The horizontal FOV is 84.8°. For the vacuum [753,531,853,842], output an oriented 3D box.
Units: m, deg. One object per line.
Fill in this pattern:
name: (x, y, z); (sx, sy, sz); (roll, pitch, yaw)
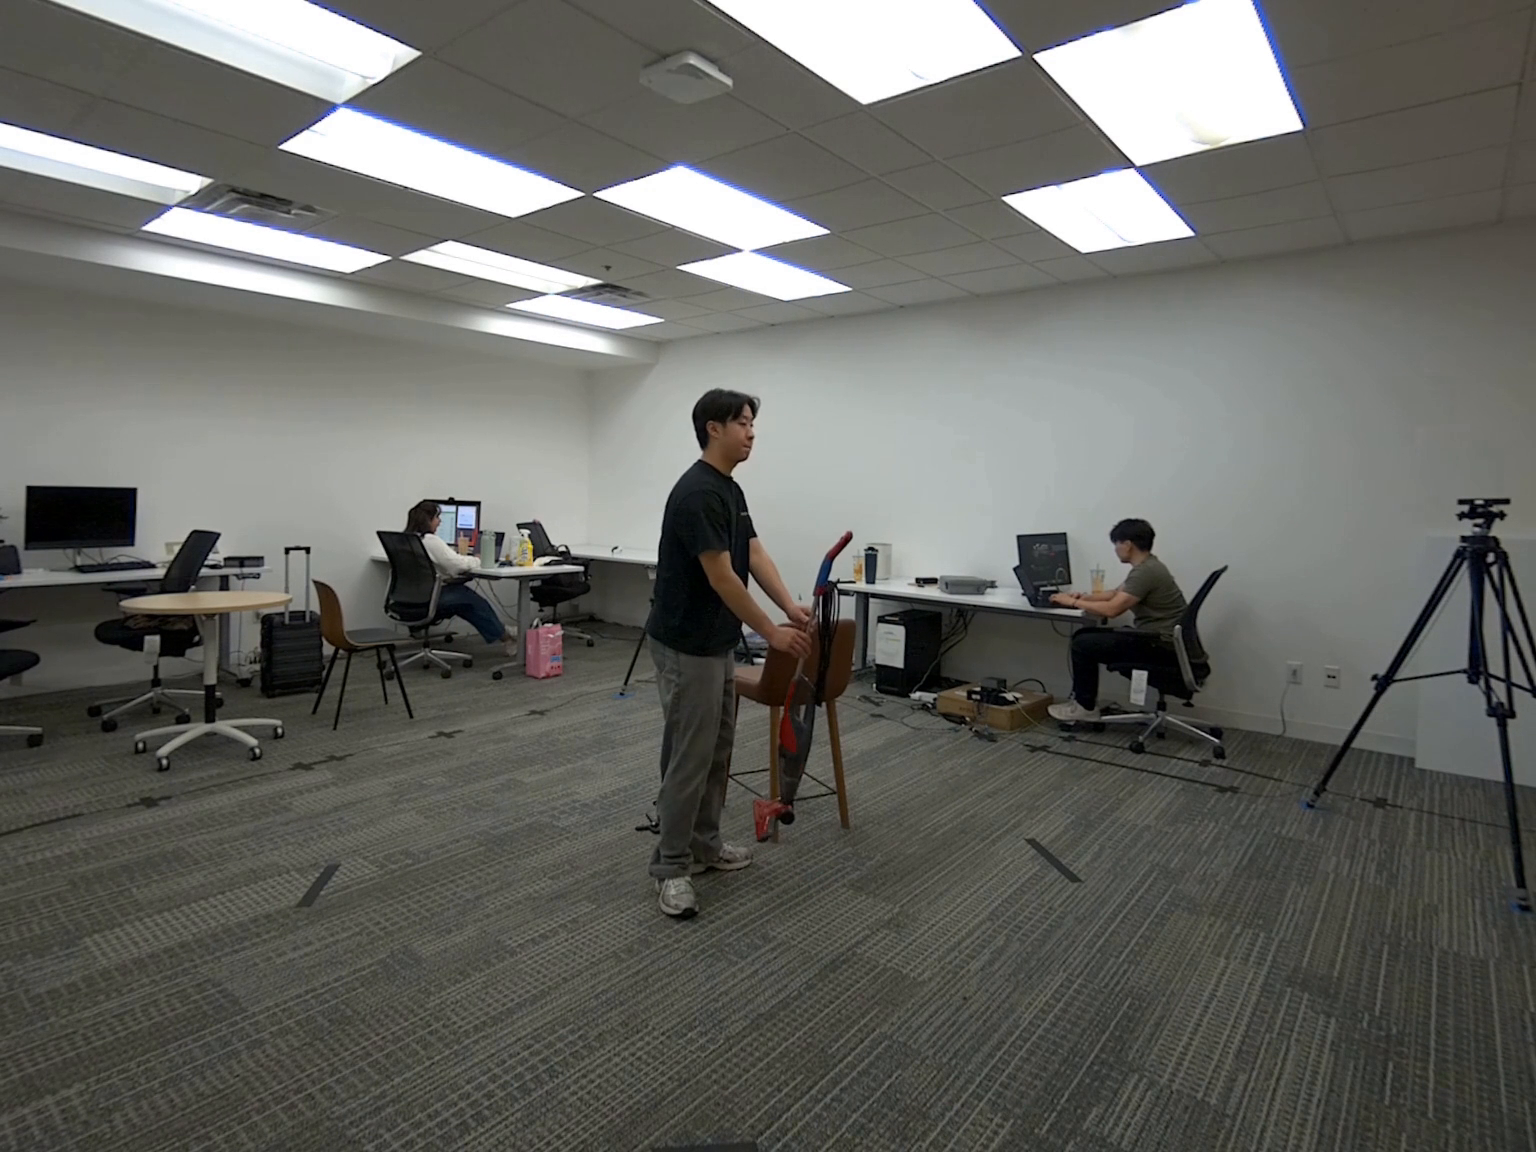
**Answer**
vacuum: (0.143, 0.364, 2.884); (0.140, 1.043, 0.261); (10, 9, -25)
